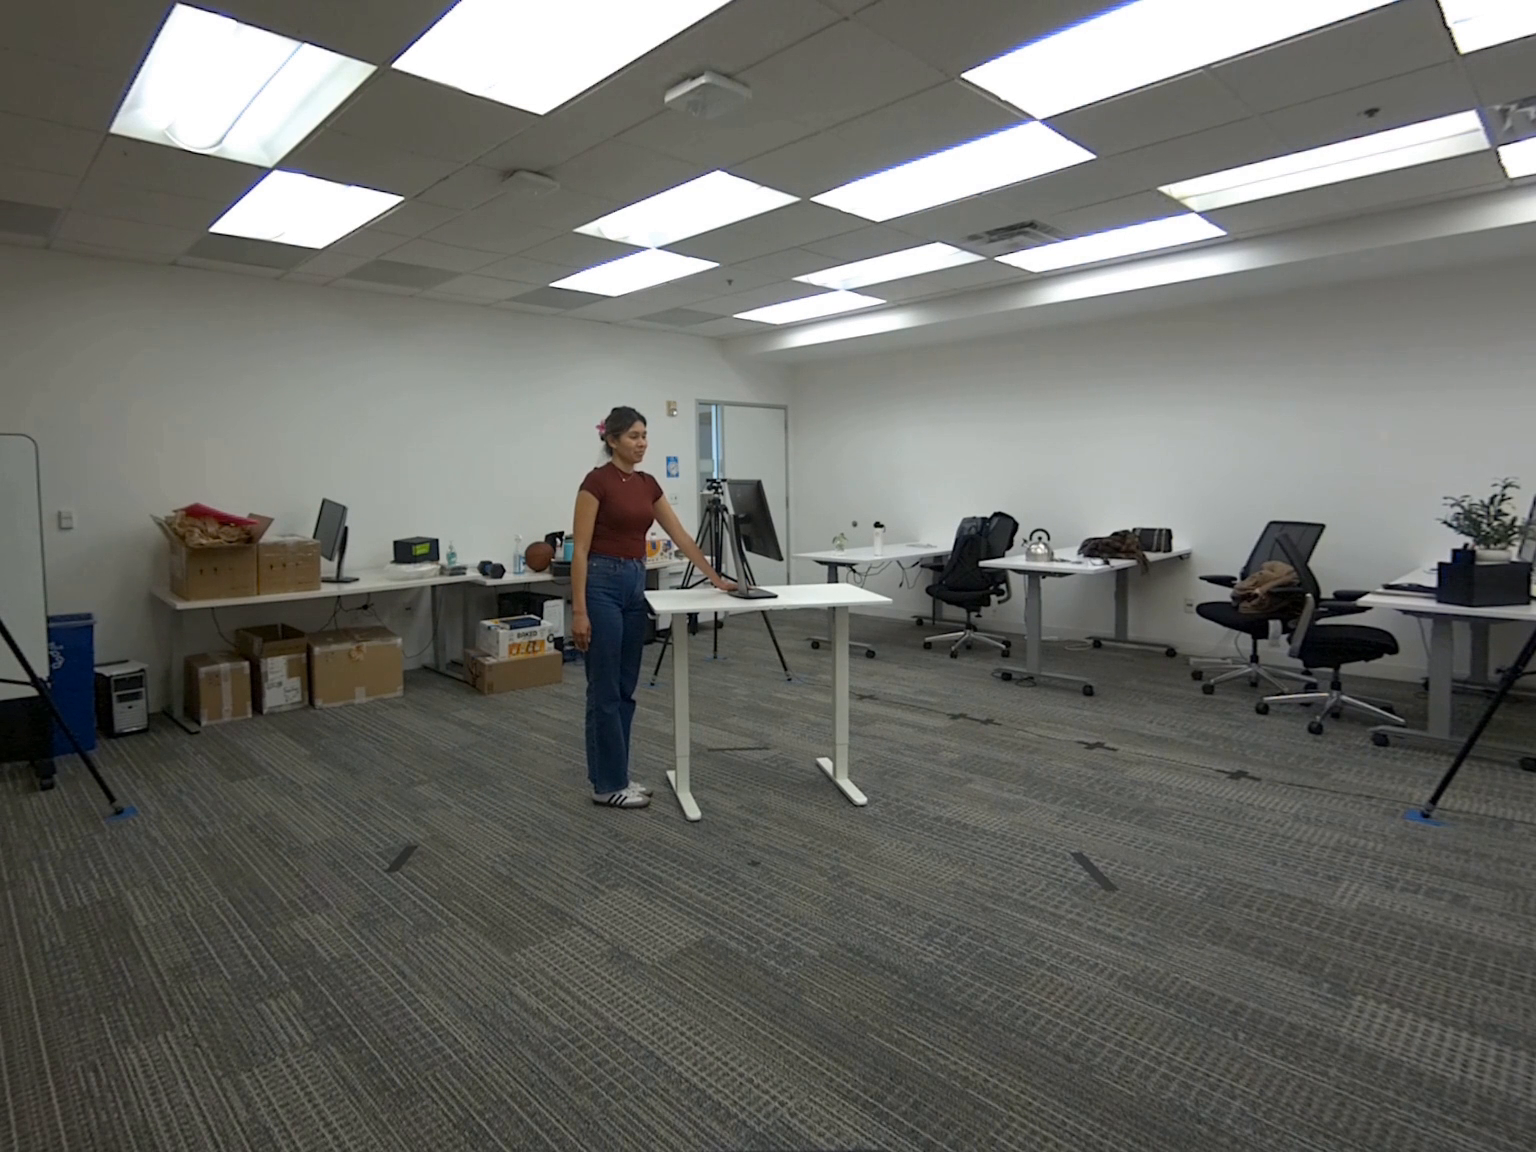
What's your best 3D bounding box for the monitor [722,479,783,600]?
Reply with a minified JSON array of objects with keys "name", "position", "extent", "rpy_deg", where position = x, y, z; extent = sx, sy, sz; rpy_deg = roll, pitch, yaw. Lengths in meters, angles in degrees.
[{"name":"monitor","position":[-0.097,-0.170,3.784],"extent":[0.184,0.520,0.550],"rpy_deg":[-5,7,-19]}]
